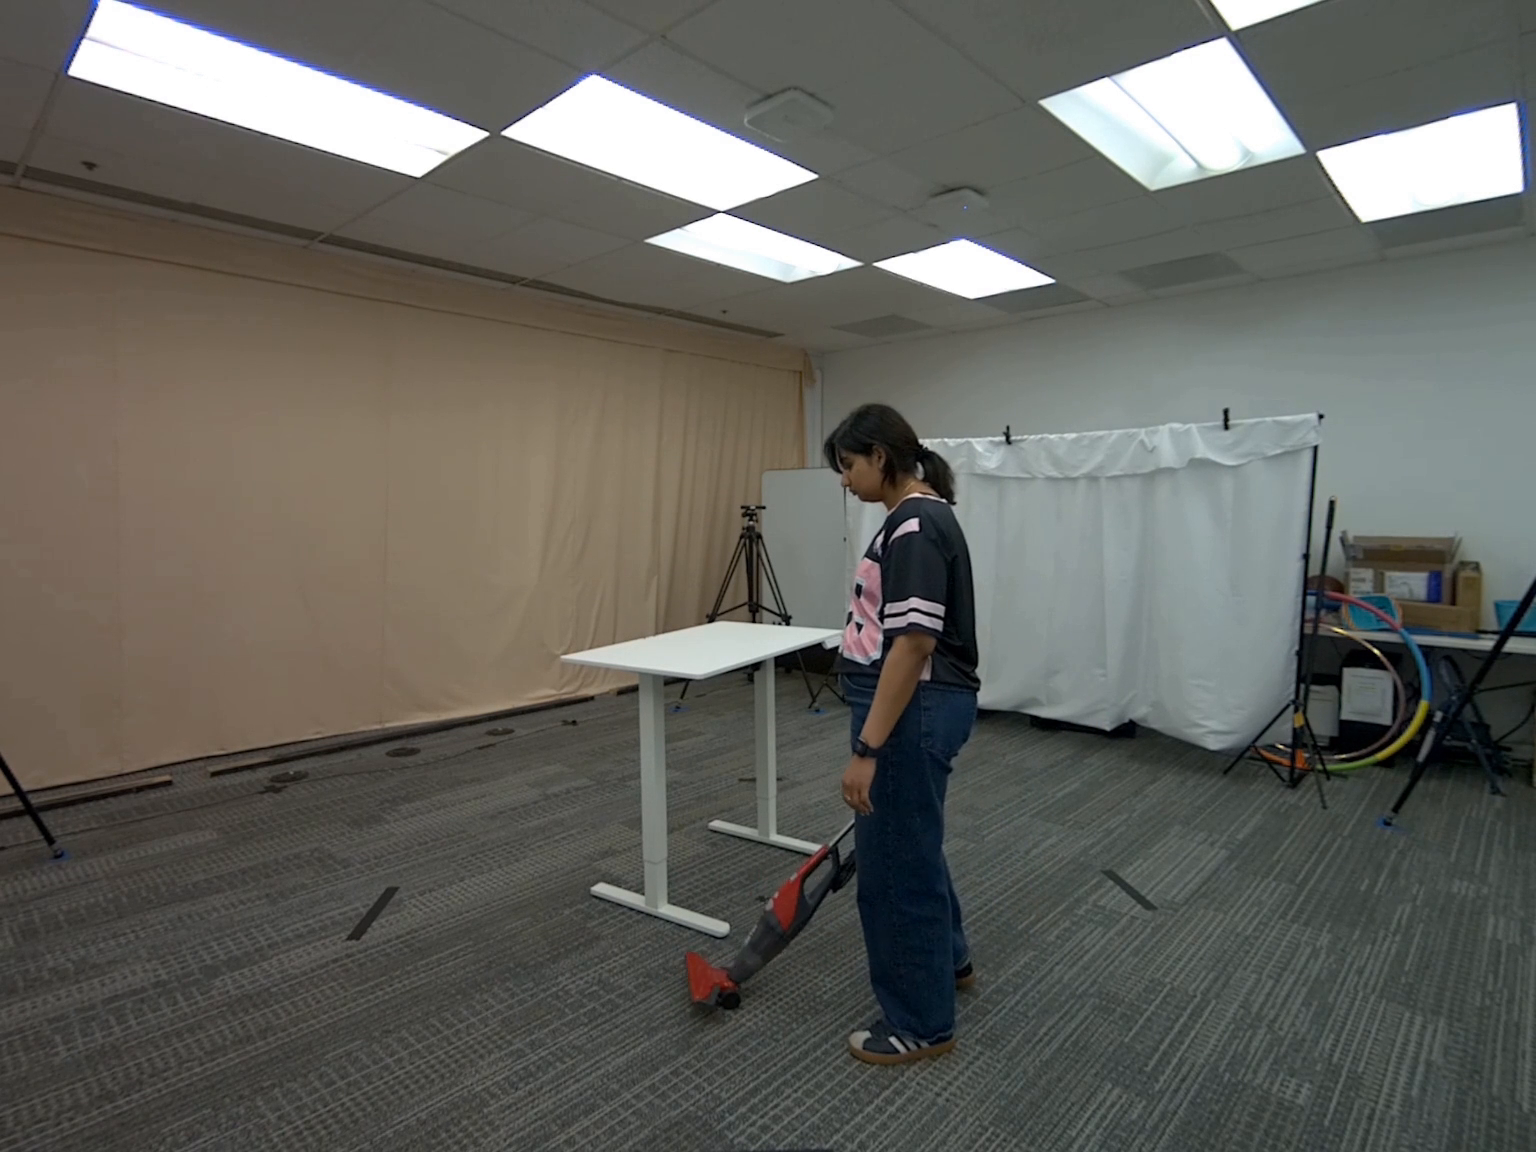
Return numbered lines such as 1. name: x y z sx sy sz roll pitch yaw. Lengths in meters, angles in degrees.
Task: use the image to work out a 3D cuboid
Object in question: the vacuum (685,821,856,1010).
1. vacuum: 0.206 0.813 2.418 1.047 0.143 0.255 -44 9 -6
